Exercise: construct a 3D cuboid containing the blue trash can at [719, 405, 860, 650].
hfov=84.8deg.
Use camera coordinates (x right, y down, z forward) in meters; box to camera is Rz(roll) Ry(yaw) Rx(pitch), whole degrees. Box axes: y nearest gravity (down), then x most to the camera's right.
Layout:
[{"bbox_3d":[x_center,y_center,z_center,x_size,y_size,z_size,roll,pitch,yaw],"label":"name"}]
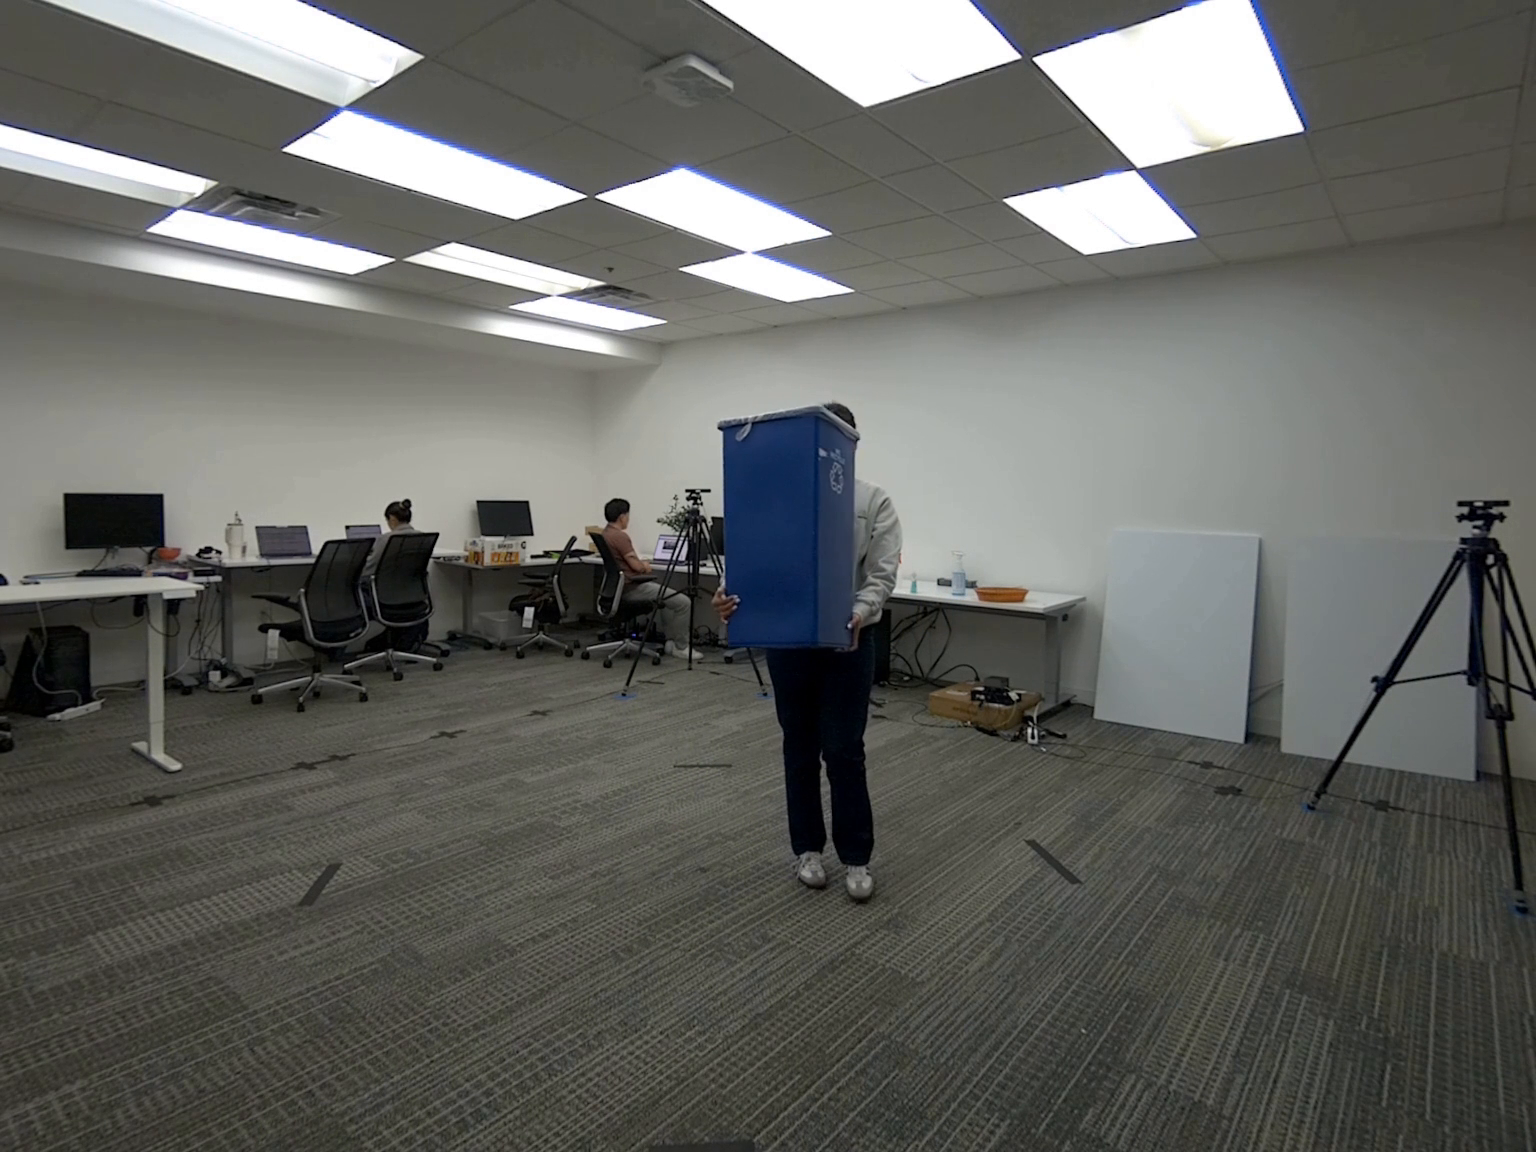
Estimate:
[{"bbox_3d":[0.063,-0.134,2.728,0.387,0.720,0.362,-4,-10,27],"label":"blue trash can"}]
